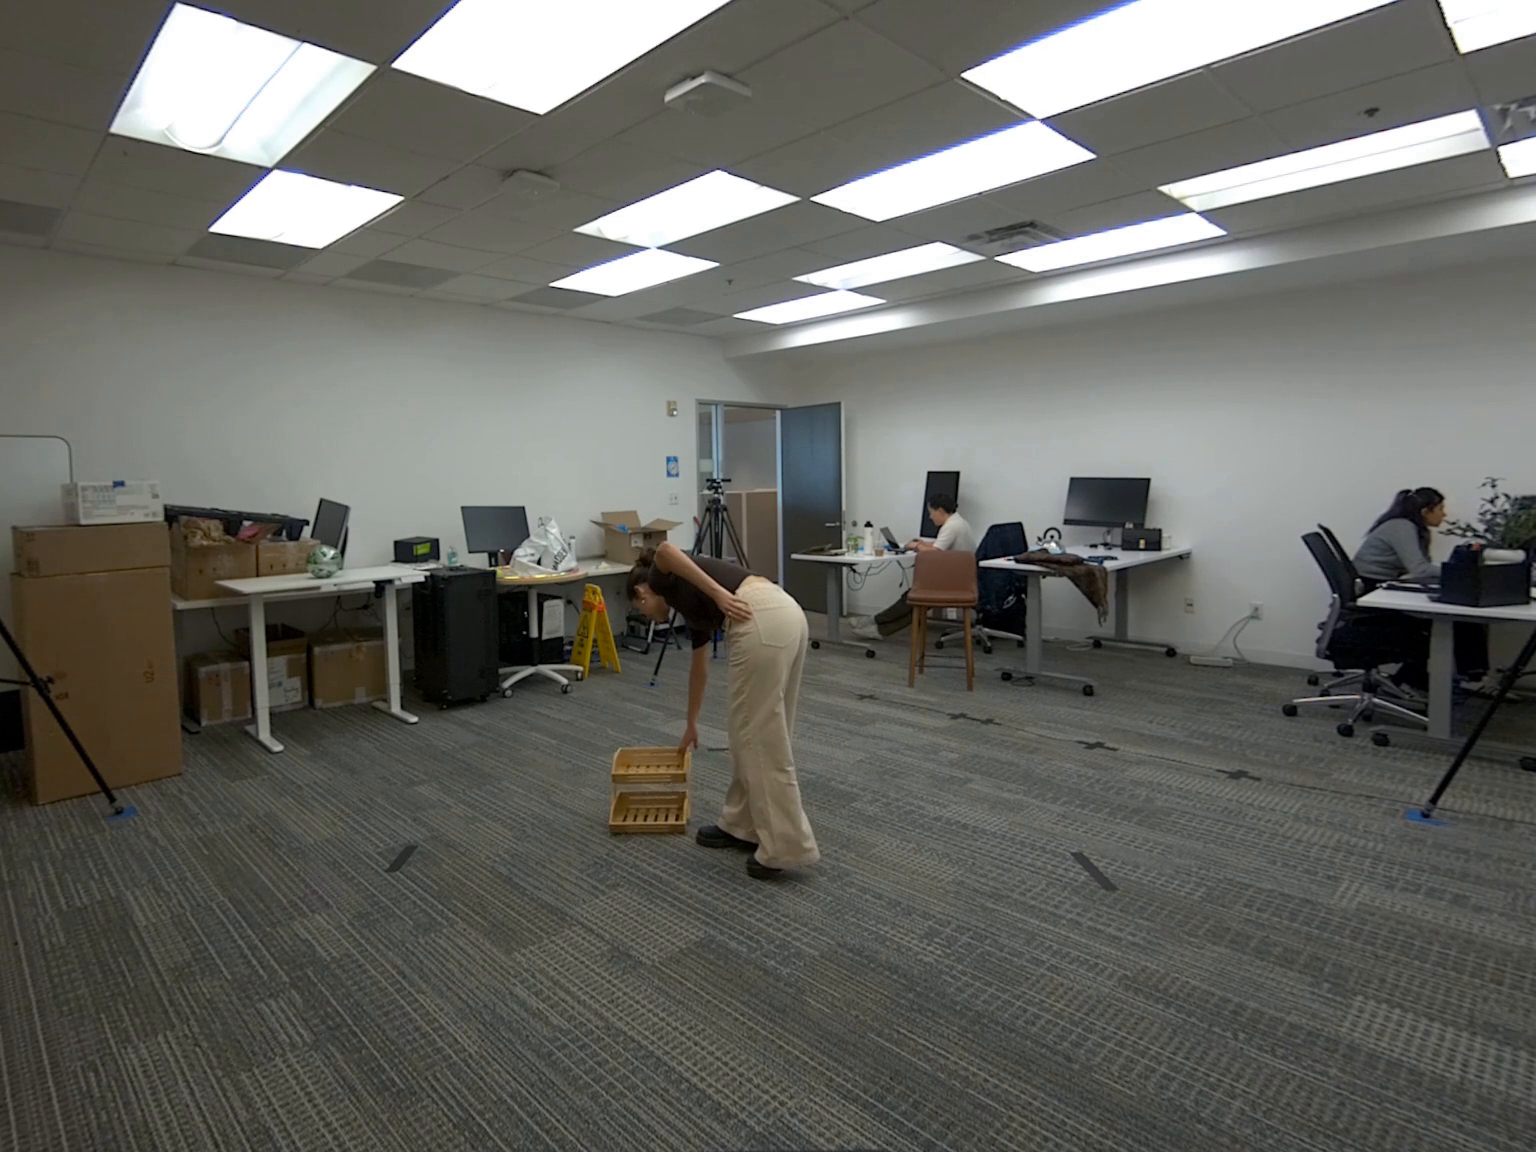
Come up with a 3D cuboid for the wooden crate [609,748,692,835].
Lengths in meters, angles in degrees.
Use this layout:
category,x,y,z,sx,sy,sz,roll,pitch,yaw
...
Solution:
category,x,y,z,sx,sy,sz,roll,pitch,yaw
wooden crate,-0.478,0.874,3.499,0.325,0.272,0.303,-1,4,0
